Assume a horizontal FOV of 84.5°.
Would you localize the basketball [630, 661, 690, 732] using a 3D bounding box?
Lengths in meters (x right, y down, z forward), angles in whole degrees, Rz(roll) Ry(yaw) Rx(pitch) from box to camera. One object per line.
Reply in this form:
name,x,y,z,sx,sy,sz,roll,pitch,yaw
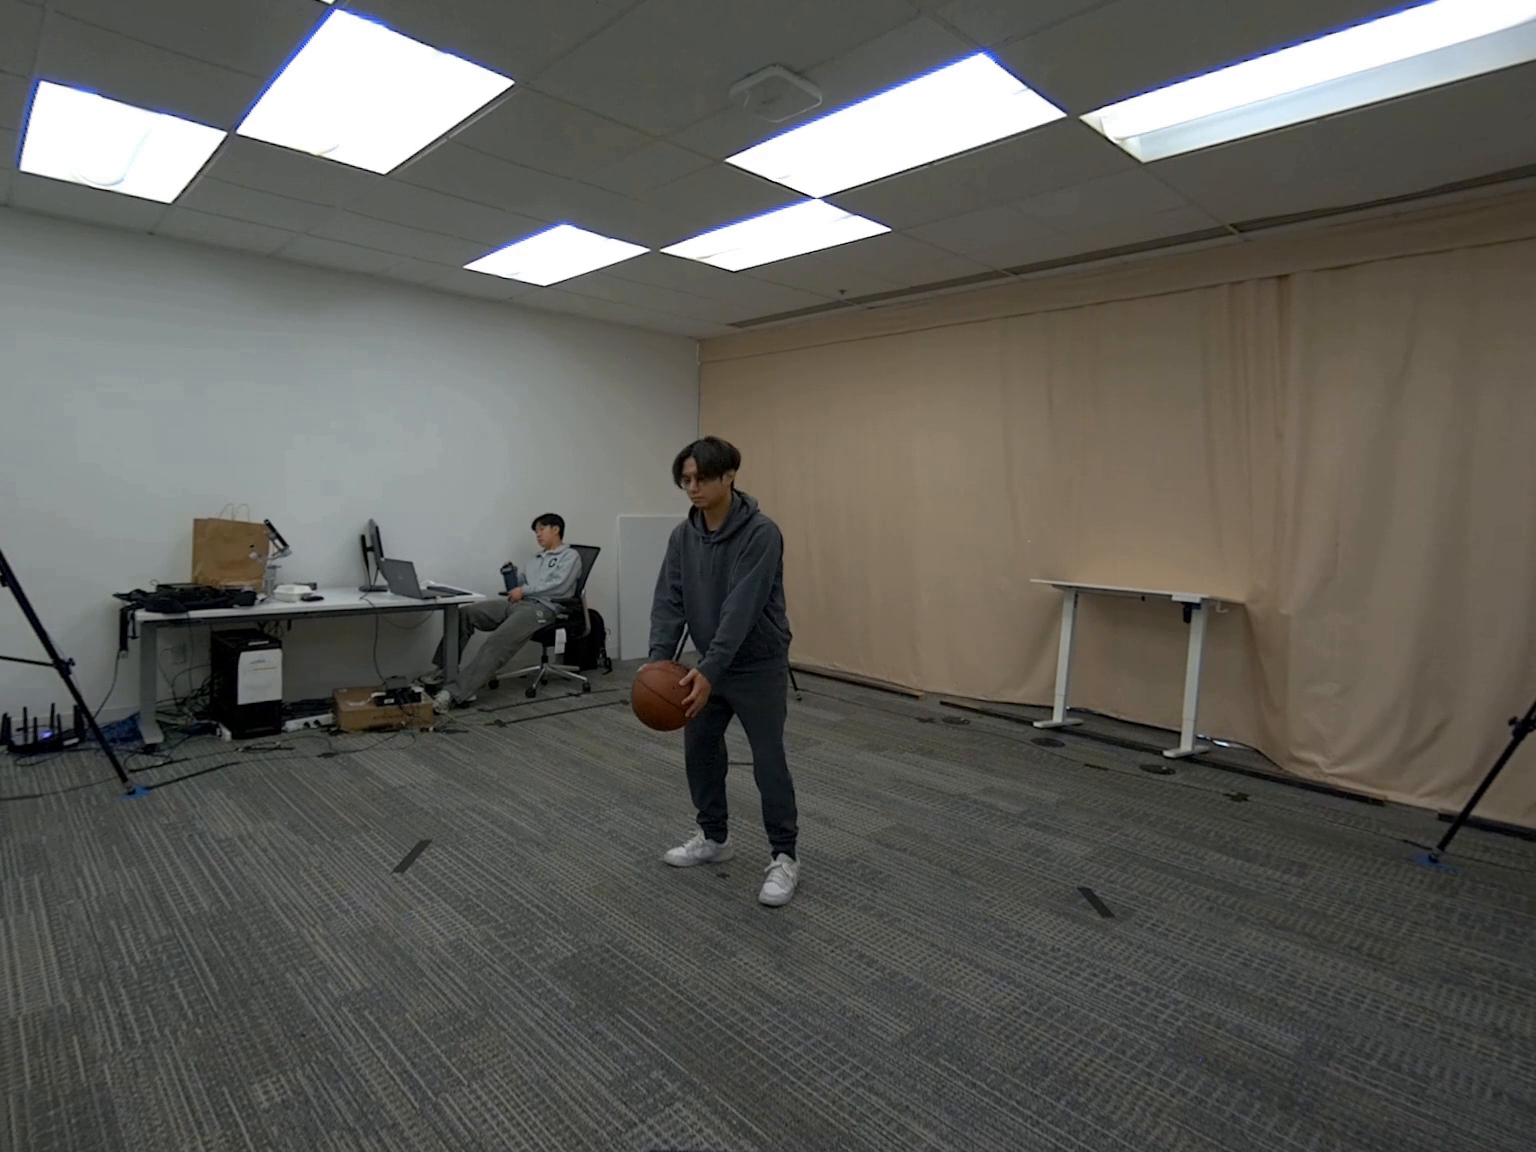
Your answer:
basketball,-0.353,0.404,2.862,0.236,0.235,0.237,1,4,-1
